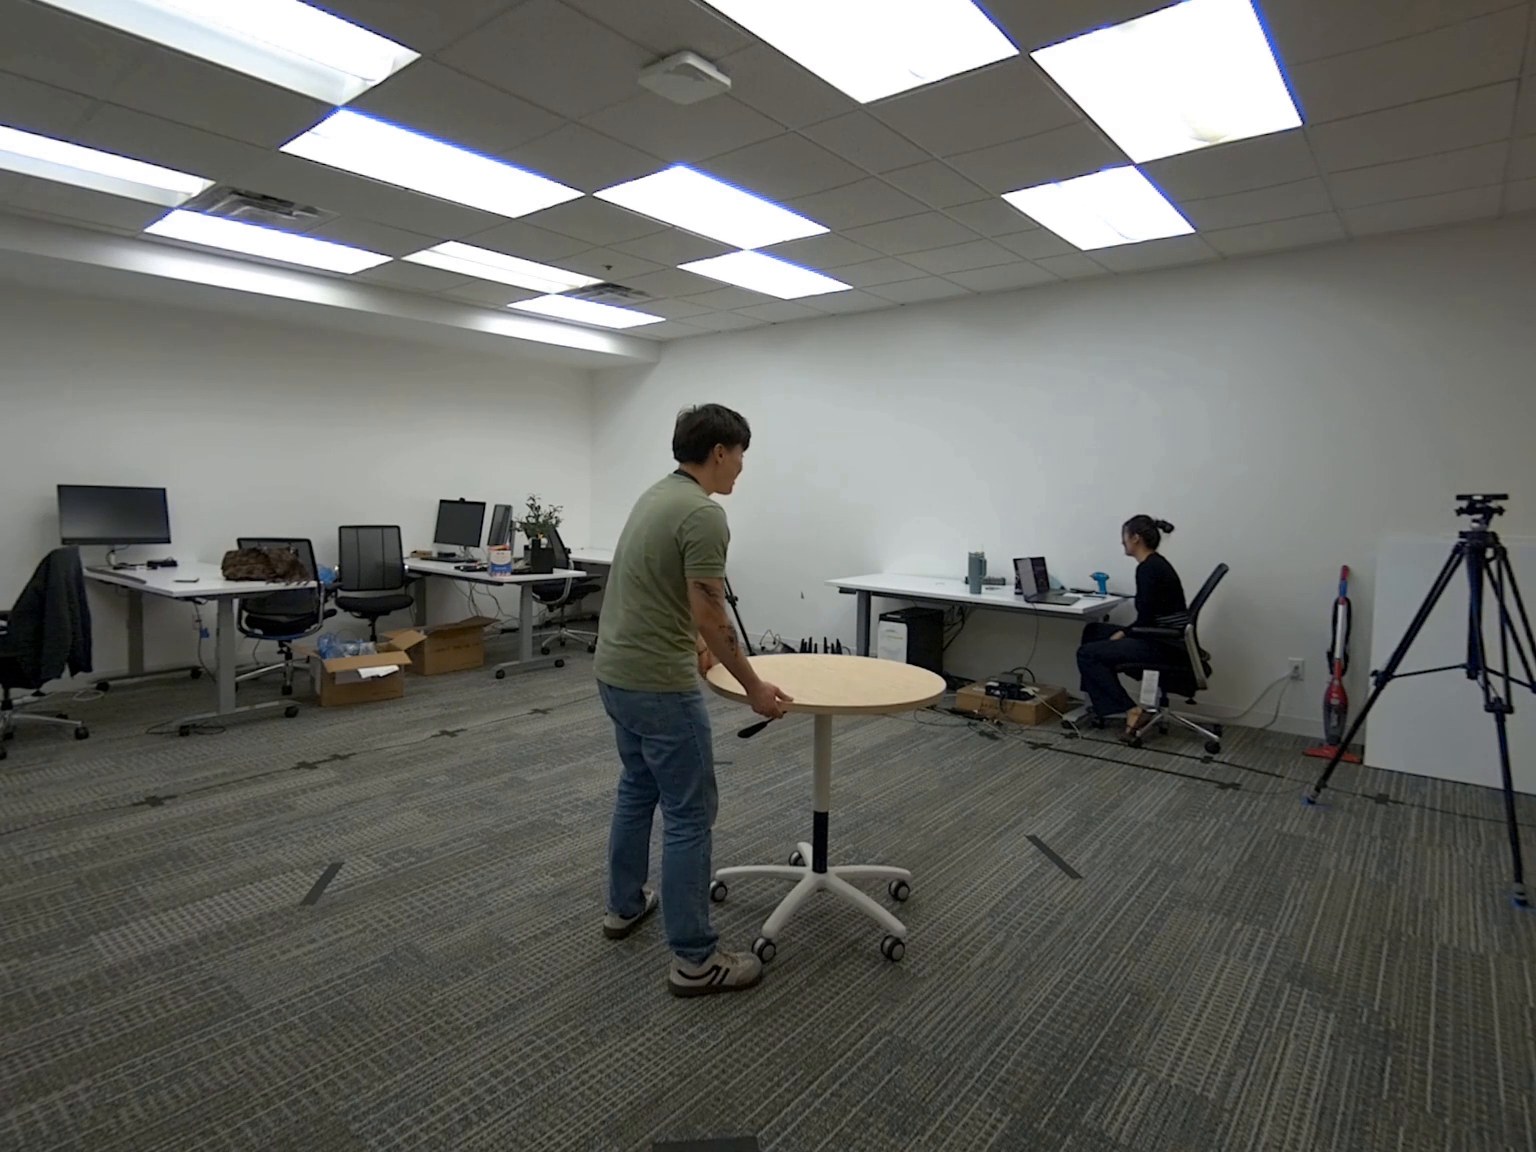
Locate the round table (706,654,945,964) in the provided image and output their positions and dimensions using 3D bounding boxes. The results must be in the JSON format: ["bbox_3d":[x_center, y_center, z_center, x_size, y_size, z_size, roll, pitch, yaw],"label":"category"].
[{"bbox_3d":[0.164,0.715,2.777,0.763,0.791,0.768,1,4,-2],"label":"round table"}]
